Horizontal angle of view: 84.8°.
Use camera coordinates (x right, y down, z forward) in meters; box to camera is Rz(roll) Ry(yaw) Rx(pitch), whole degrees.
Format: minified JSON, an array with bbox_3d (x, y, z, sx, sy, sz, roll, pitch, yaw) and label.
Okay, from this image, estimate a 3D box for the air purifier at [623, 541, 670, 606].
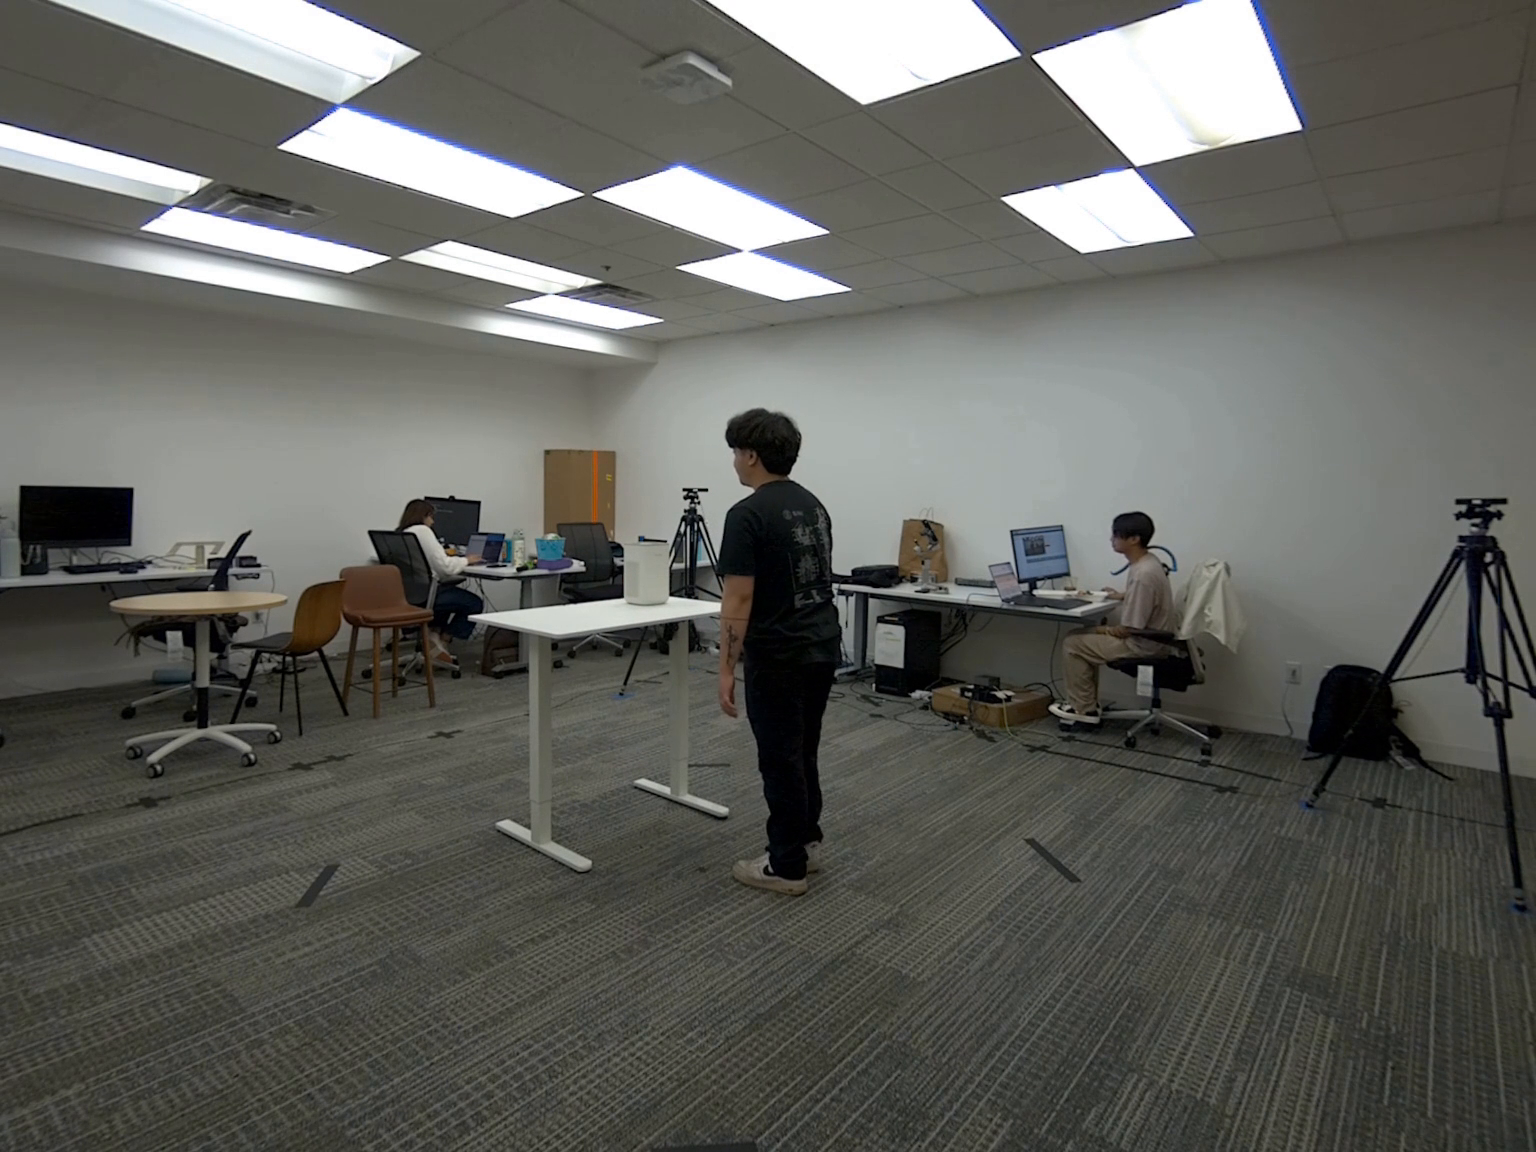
[{"bbox_3d":[-0.550,-0.017,3.750,0.177,0.265,0.166,2,4,42],"label":"air purifier"}]
